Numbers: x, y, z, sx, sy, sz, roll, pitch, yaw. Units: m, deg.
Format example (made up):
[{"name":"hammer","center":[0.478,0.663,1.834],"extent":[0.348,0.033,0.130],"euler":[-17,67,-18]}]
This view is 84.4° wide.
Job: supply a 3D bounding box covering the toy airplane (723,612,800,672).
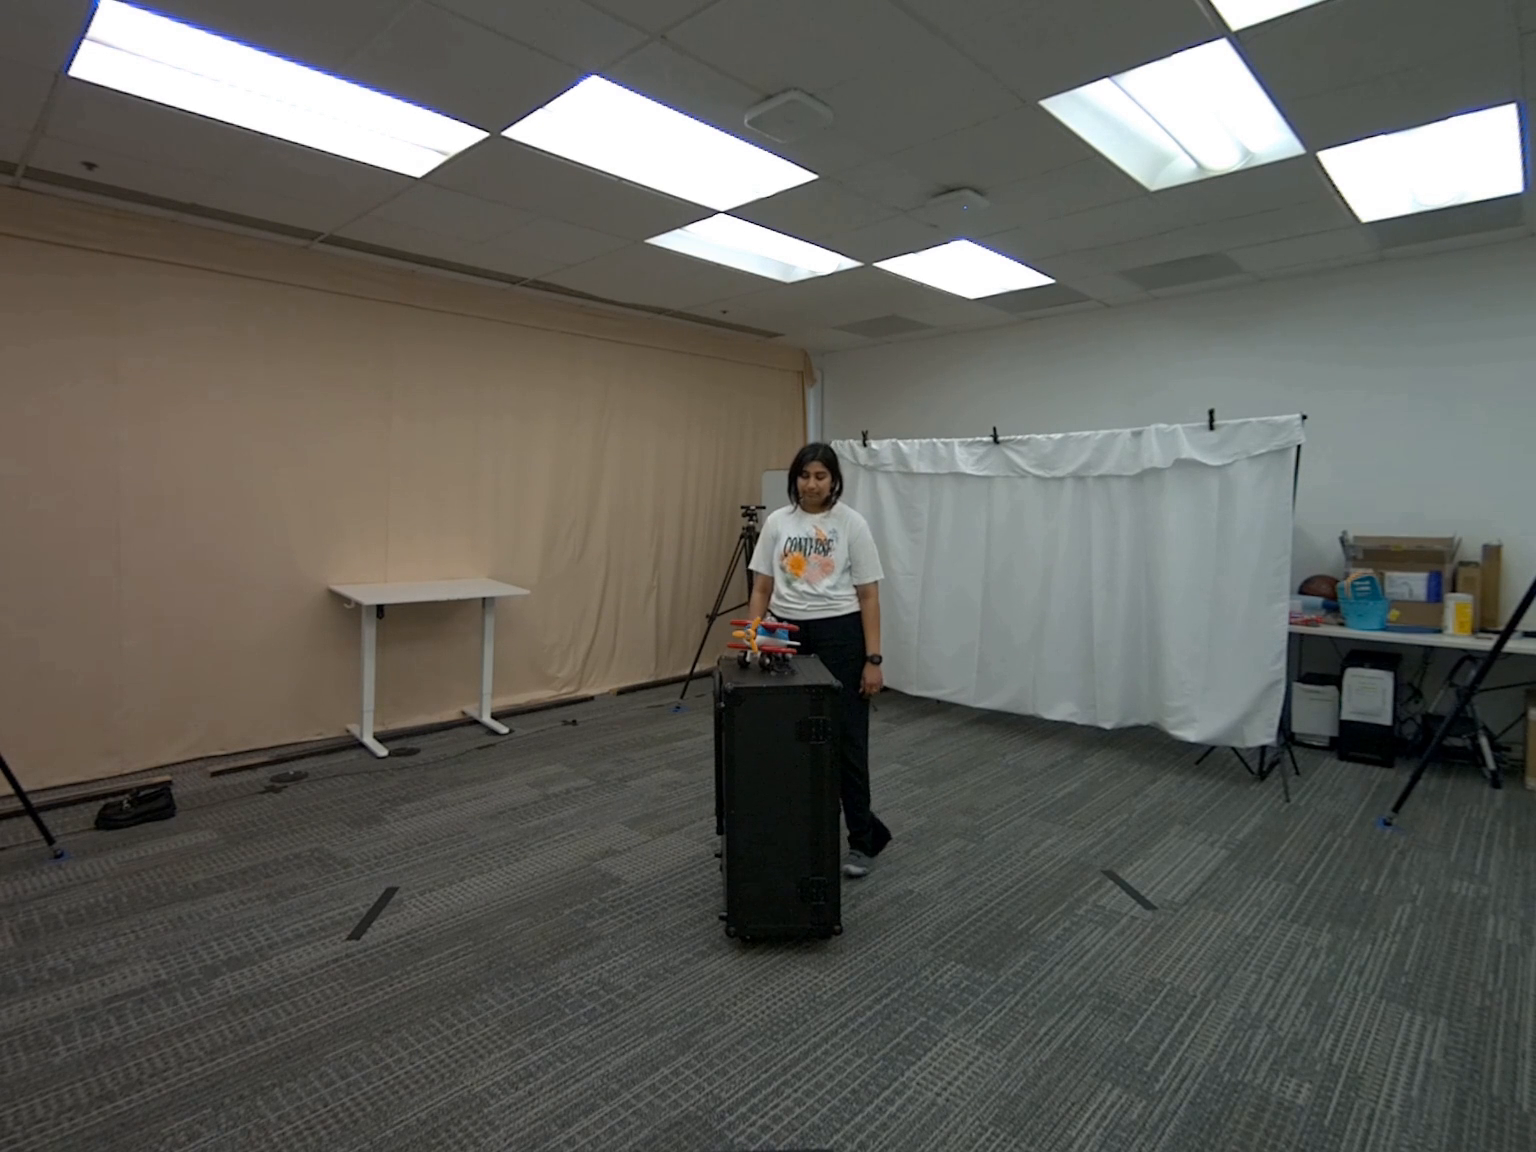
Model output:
[{"name":"toy airplane","center":[-0.019,0.219,2.893],"extent":[0.252,0.156,0.259],"euler":[0,5,3]}]
